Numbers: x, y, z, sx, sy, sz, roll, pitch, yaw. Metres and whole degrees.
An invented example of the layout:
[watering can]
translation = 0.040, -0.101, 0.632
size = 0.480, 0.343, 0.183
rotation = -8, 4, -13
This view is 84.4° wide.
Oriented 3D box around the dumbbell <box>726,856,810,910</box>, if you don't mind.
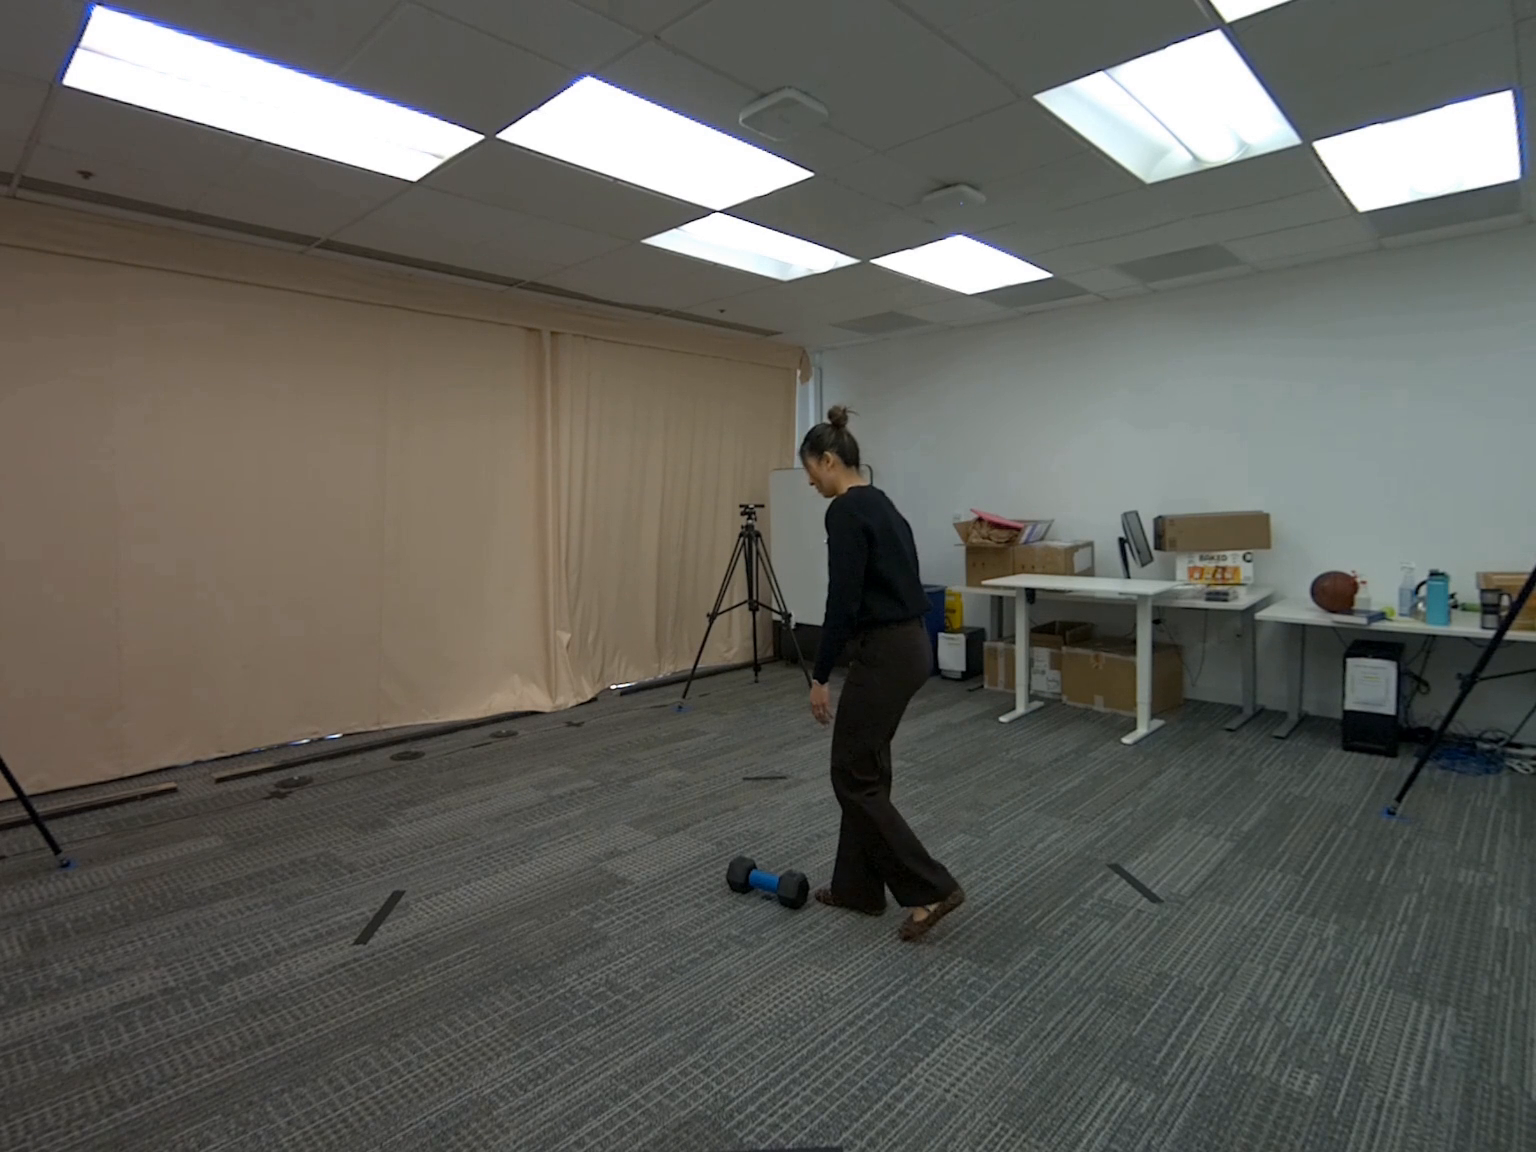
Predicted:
[dumbbell]
translation = -0.001, 1.086, 2.983
size = 0.303, 0.120, 0.108
rotation = 3, 33, 34
